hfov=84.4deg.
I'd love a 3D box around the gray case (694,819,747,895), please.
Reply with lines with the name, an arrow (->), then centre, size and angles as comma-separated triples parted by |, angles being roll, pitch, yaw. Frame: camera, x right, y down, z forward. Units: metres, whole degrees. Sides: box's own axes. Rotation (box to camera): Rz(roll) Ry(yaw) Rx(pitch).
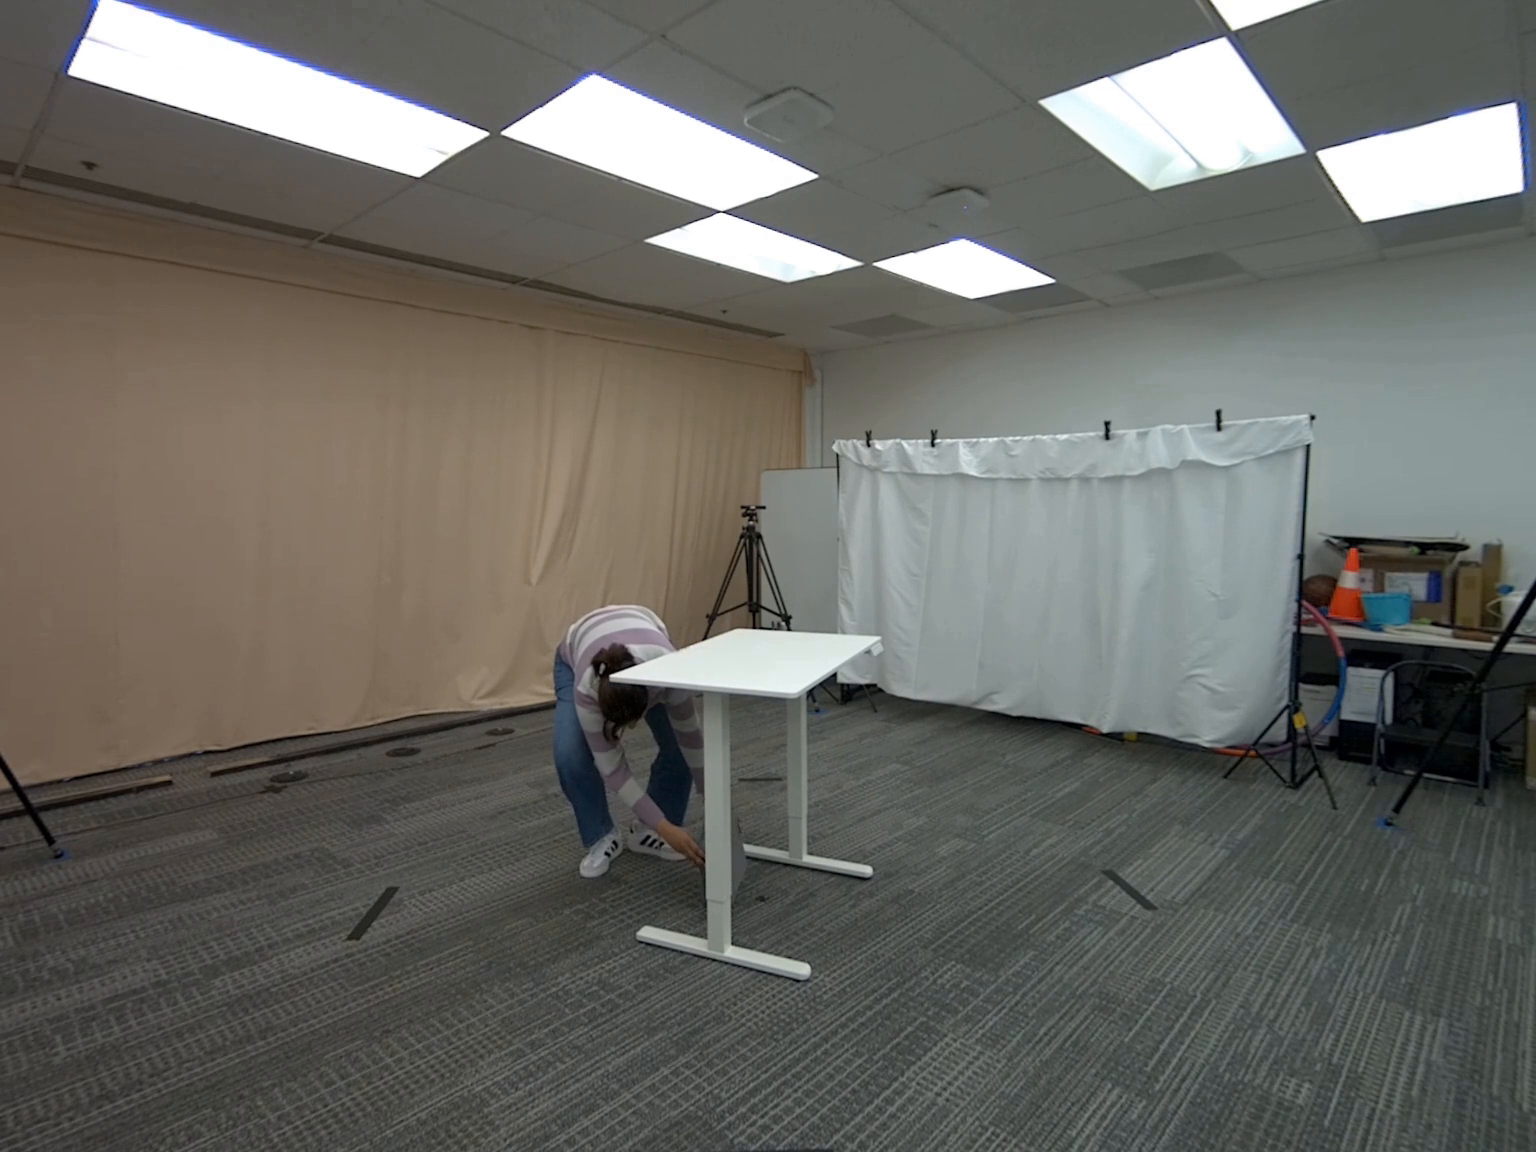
gray case -> -0.174, 0.988, 2.982 | 0.106, 0.258, 0.255 | -6, 11, 16
